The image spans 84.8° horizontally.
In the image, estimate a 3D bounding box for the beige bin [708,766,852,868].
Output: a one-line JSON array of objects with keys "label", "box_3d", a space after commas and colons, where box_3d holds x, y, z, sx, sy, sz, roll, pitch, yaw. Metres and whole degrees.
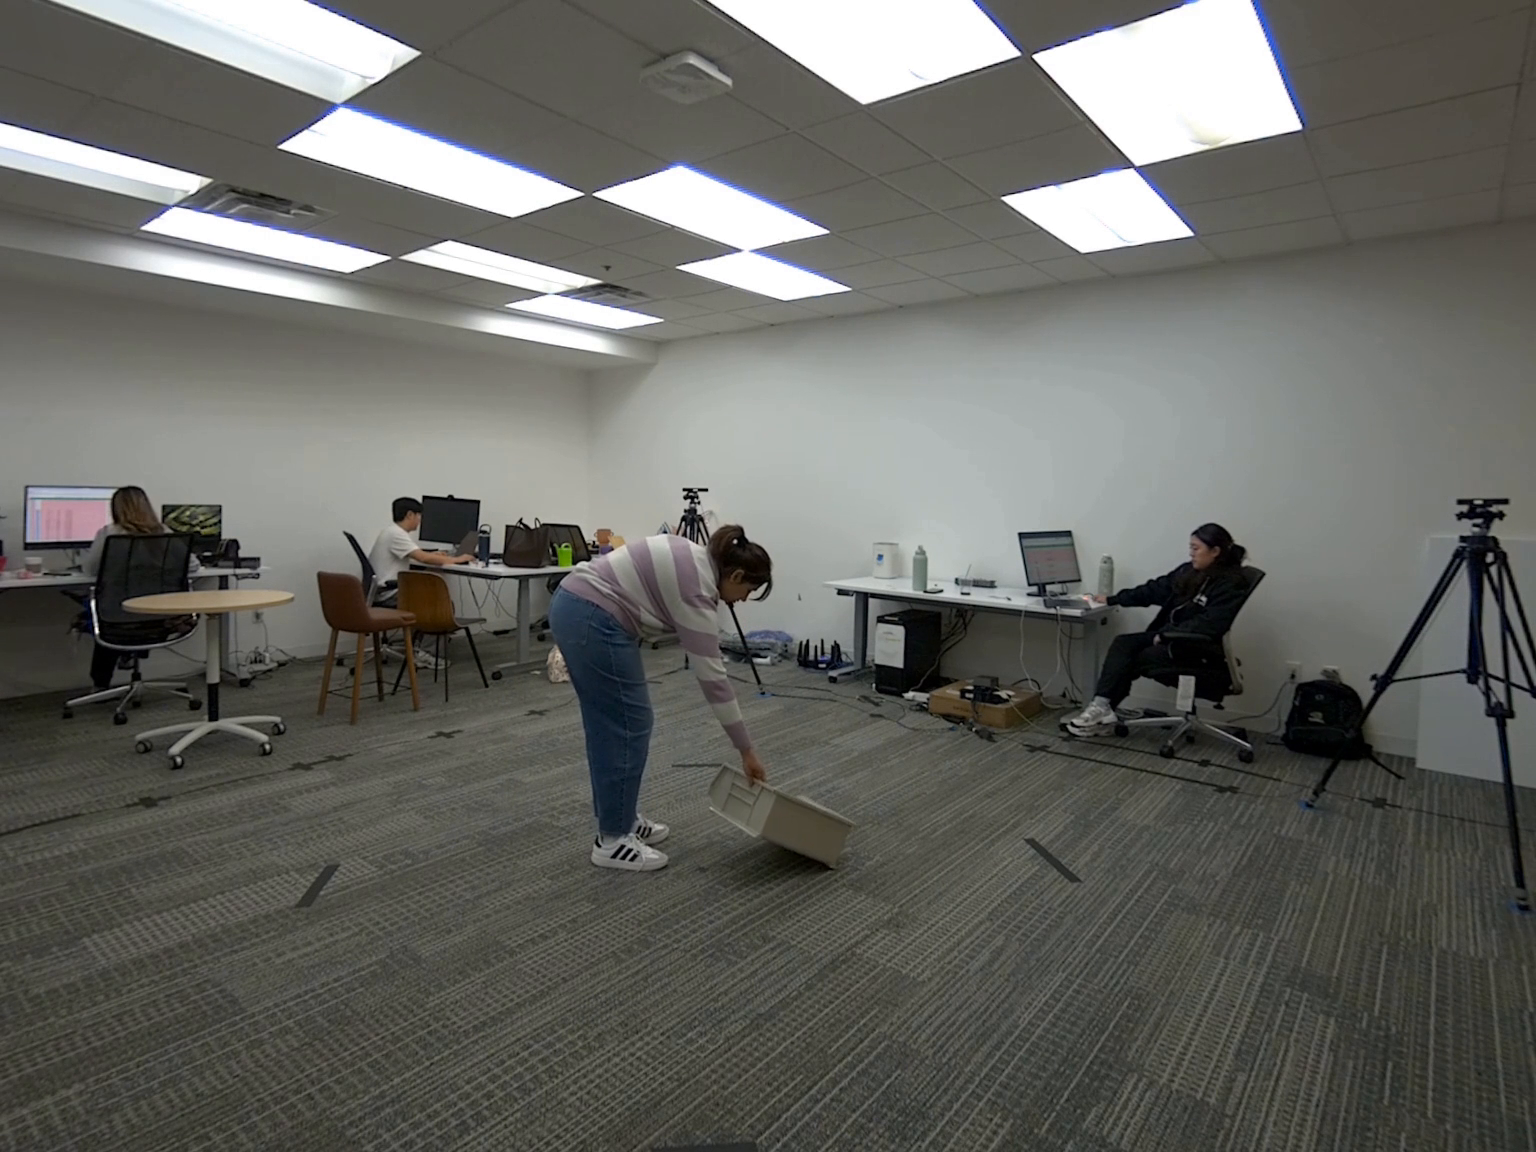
[{"label": "beige bin", "box_3d": [0.031, 0.890, 3.190, 0.408, 0.190, 0.389, 30, -10, -30]}]
